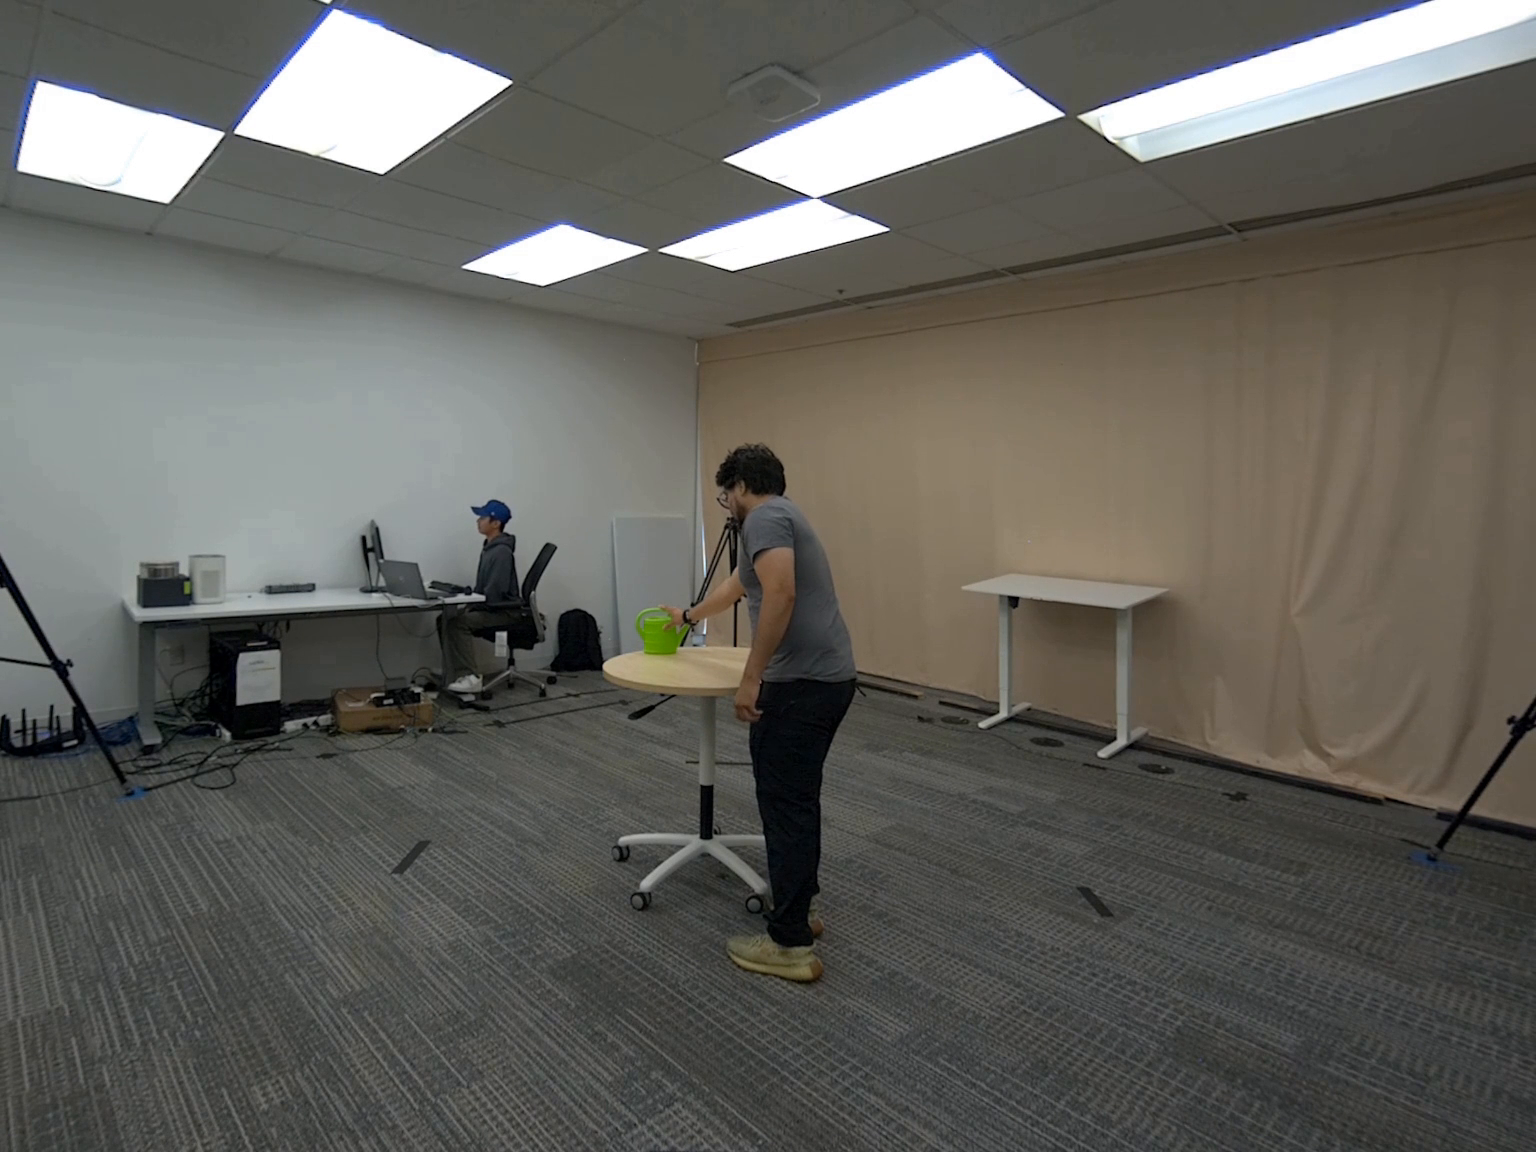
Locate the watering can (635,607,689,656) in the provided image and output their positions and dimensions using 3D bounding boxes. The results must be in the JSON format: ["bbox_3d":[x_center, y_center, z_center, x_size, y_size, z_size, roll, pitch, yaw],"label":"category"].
[{"bbox_3d":[-0.392,0.219,3.291,0.280,0.176,0.097,0,3,9],"label":"watering can"}]
